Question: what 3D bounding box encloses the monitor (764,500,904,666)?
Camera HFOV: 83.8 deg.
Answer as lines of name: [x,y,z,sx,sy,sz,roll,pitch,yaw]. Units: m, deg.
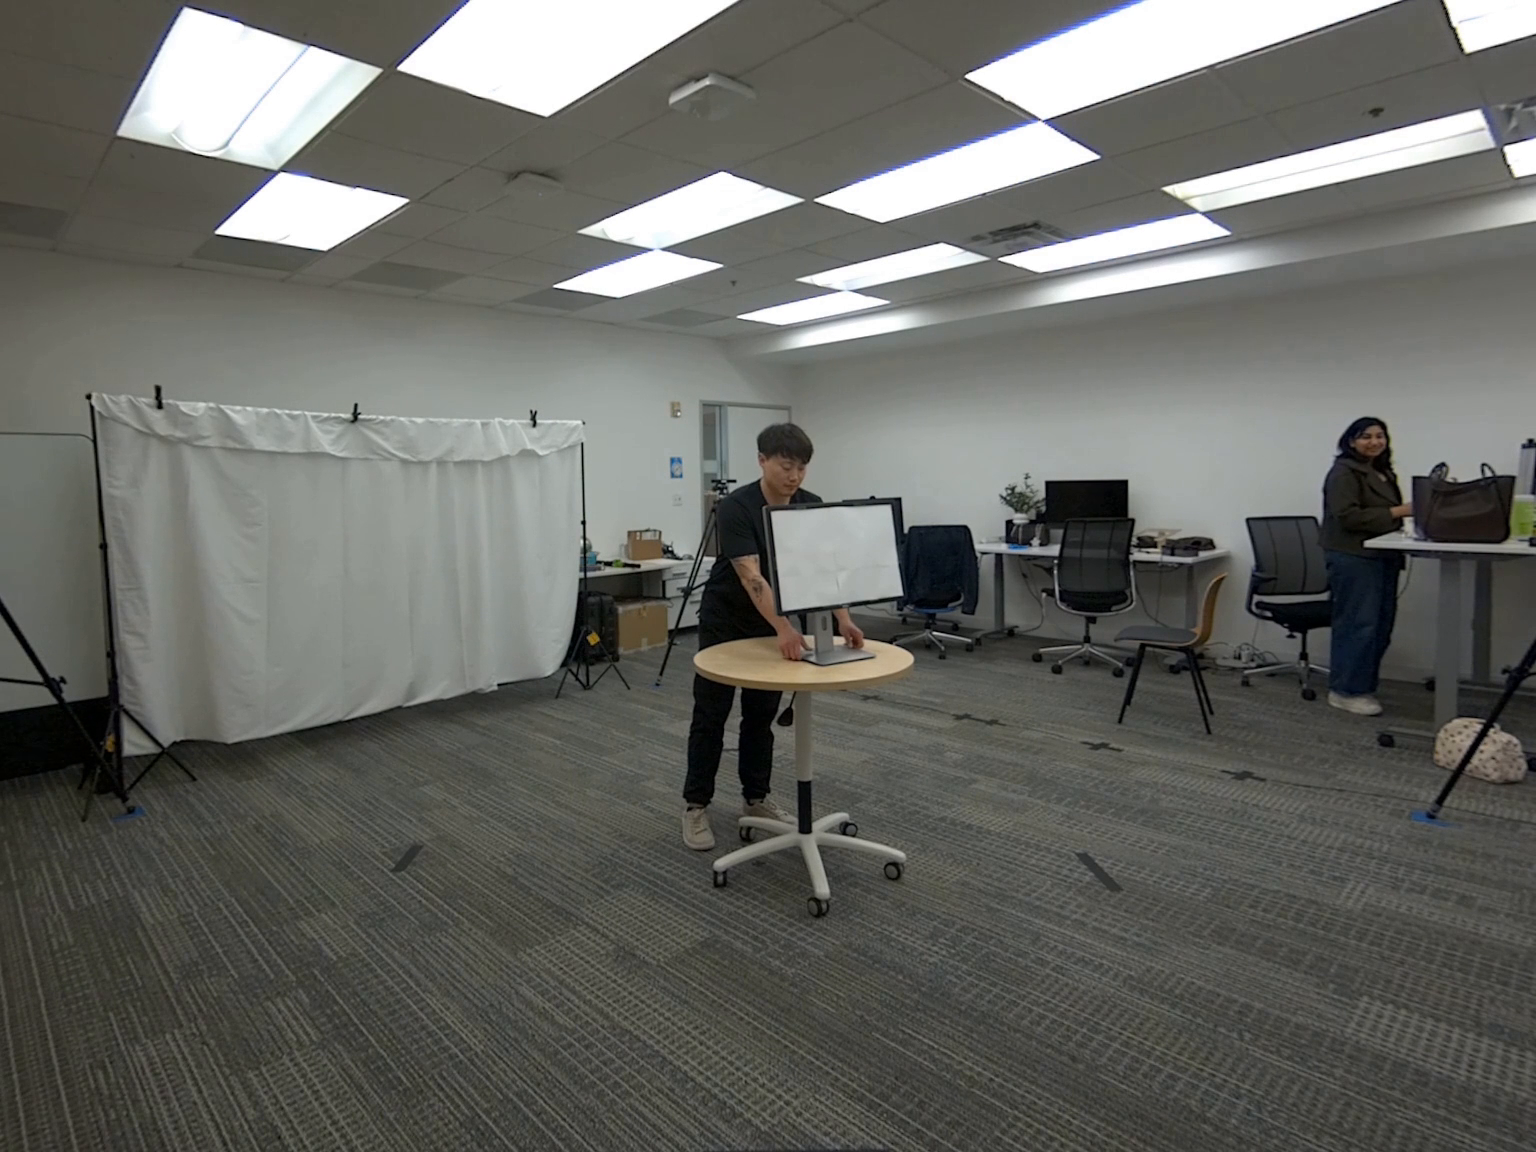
monitor: [0.220,0.019,2.967,0.526,0.520,0.193,-5,7,-33]
